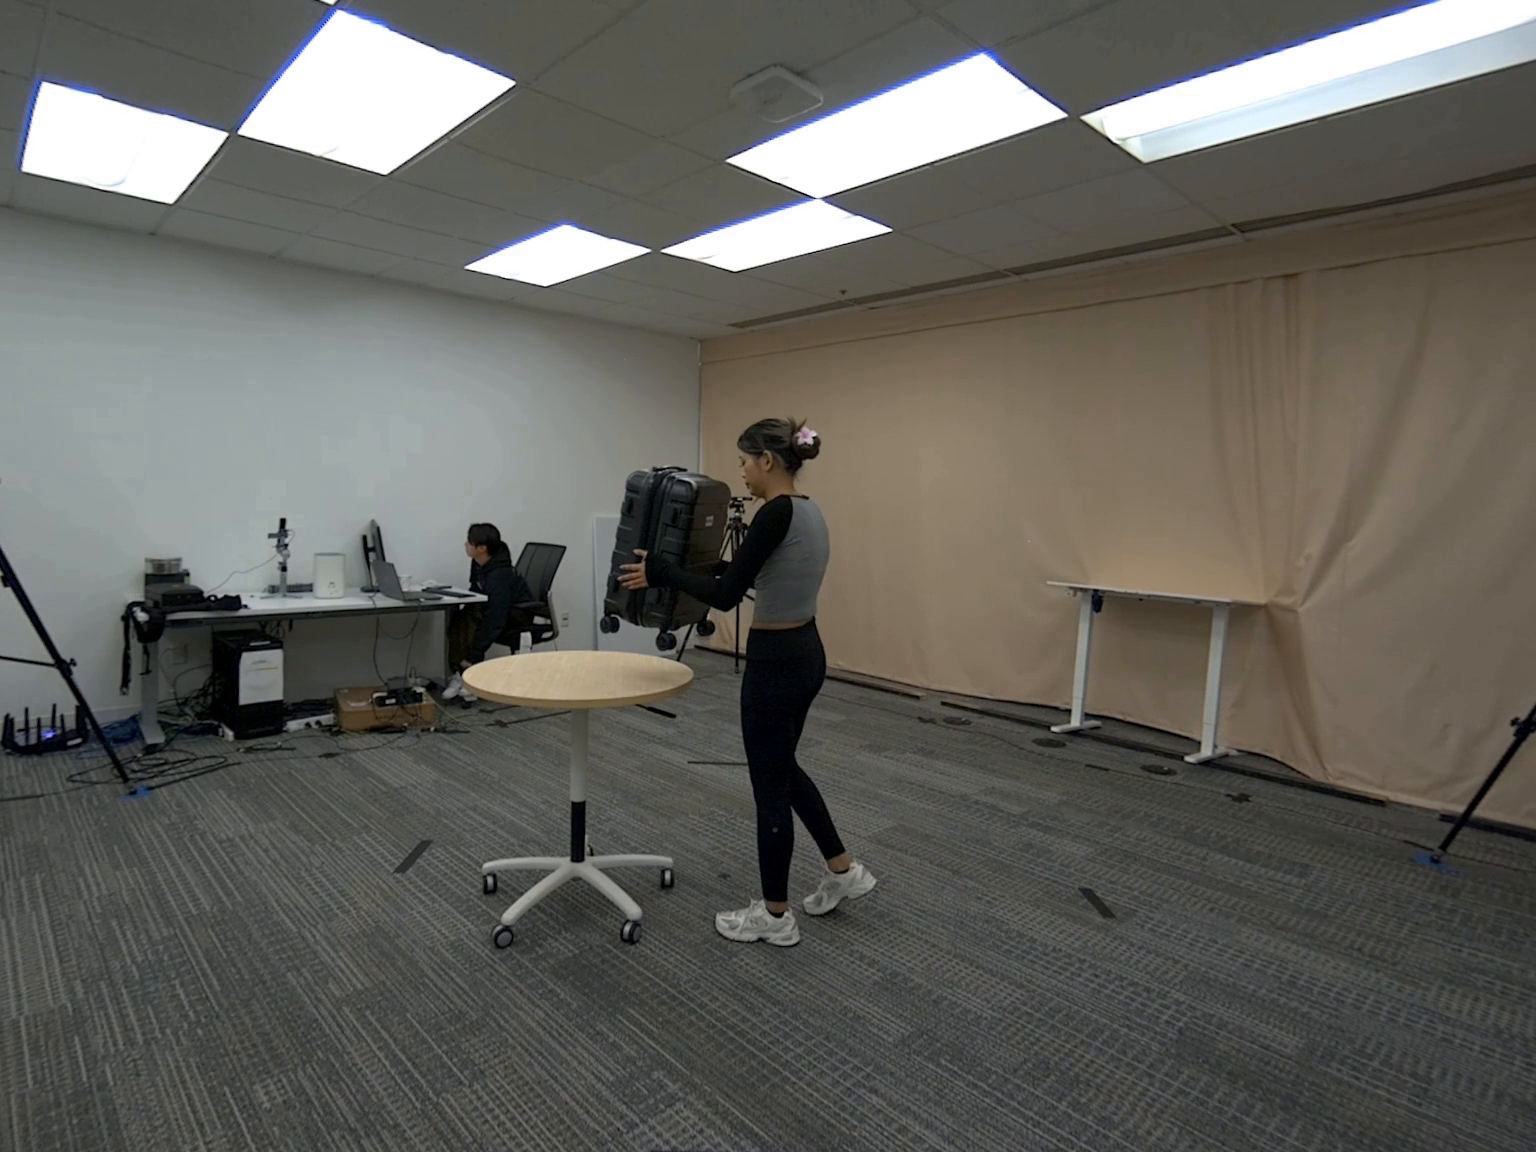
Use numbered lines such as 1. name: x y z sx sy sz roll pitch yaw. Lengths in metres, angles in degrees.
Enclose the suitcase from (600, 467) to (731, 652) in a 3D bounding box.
1. suitcase: -0.323 -0.081 2.773 0.253 0.547 0.369 13 7 23
